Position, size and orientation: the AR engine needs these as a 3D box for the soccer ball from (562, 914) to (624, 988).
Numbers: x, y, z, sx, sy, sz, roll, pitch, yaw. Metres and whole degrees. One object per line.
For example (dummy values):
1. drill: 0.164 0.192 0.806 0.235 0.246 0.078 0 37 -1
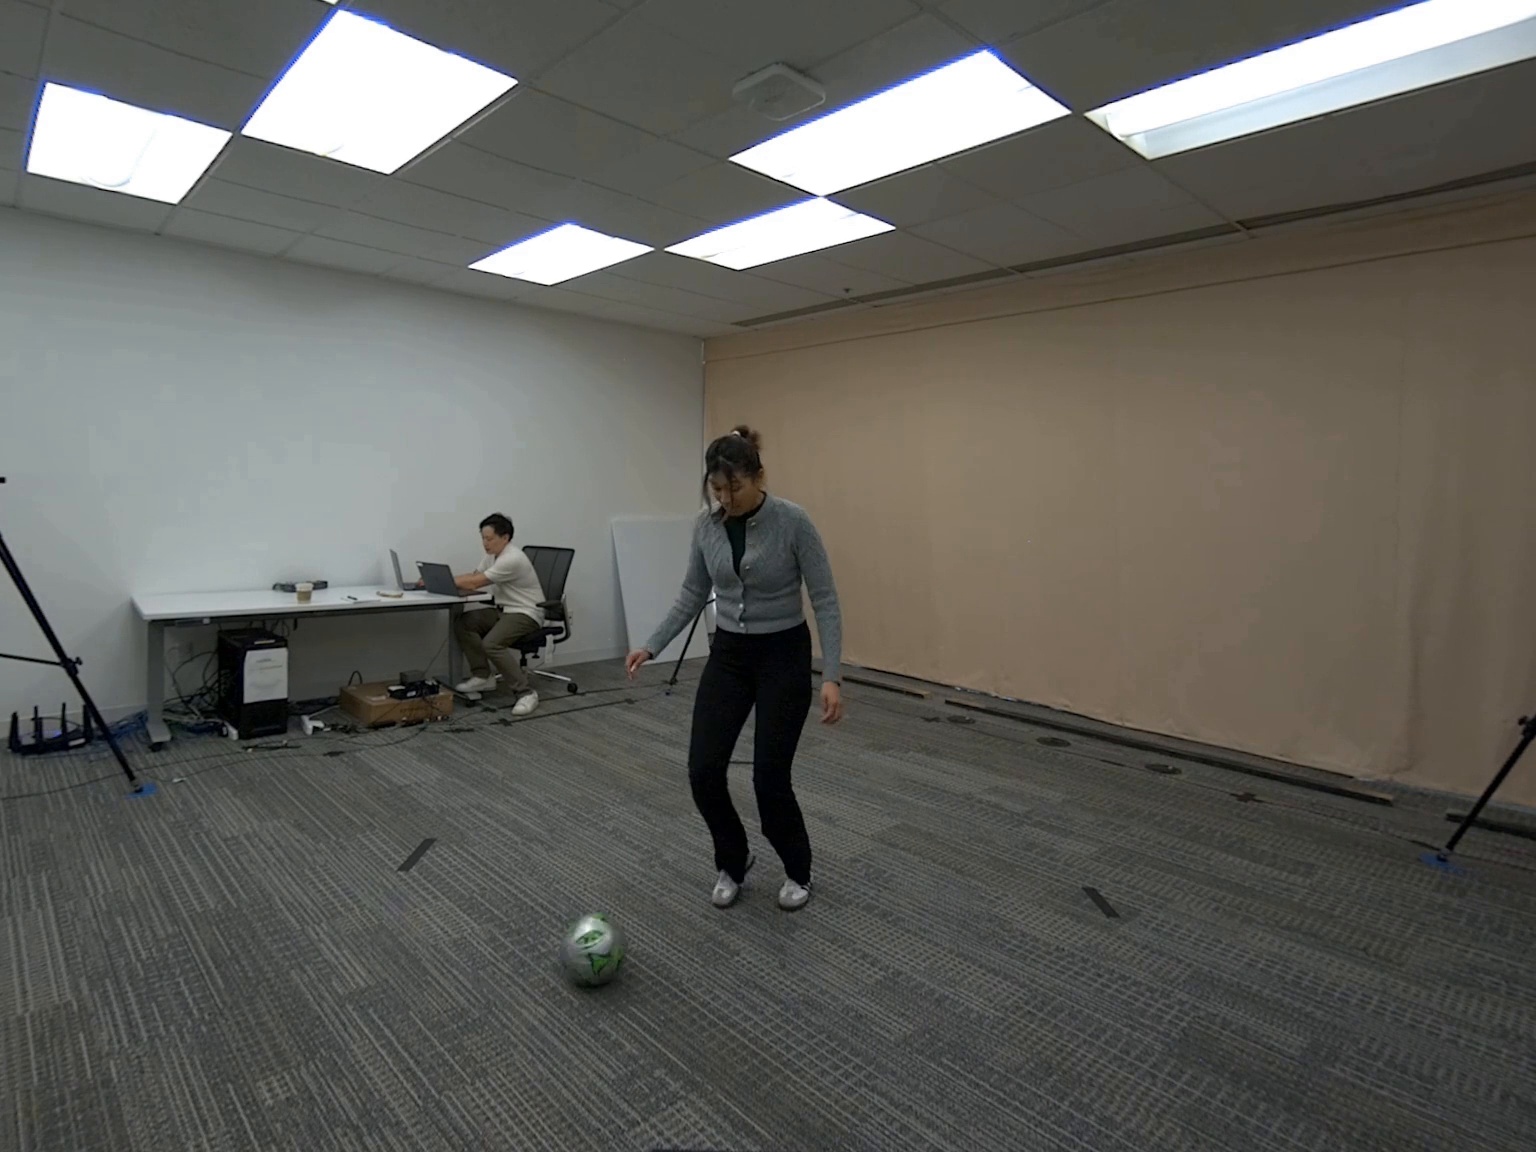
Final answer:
1. soccer ball: -0.496 1.066 2.404 0.187 0.187 0.188 1 4 -1
